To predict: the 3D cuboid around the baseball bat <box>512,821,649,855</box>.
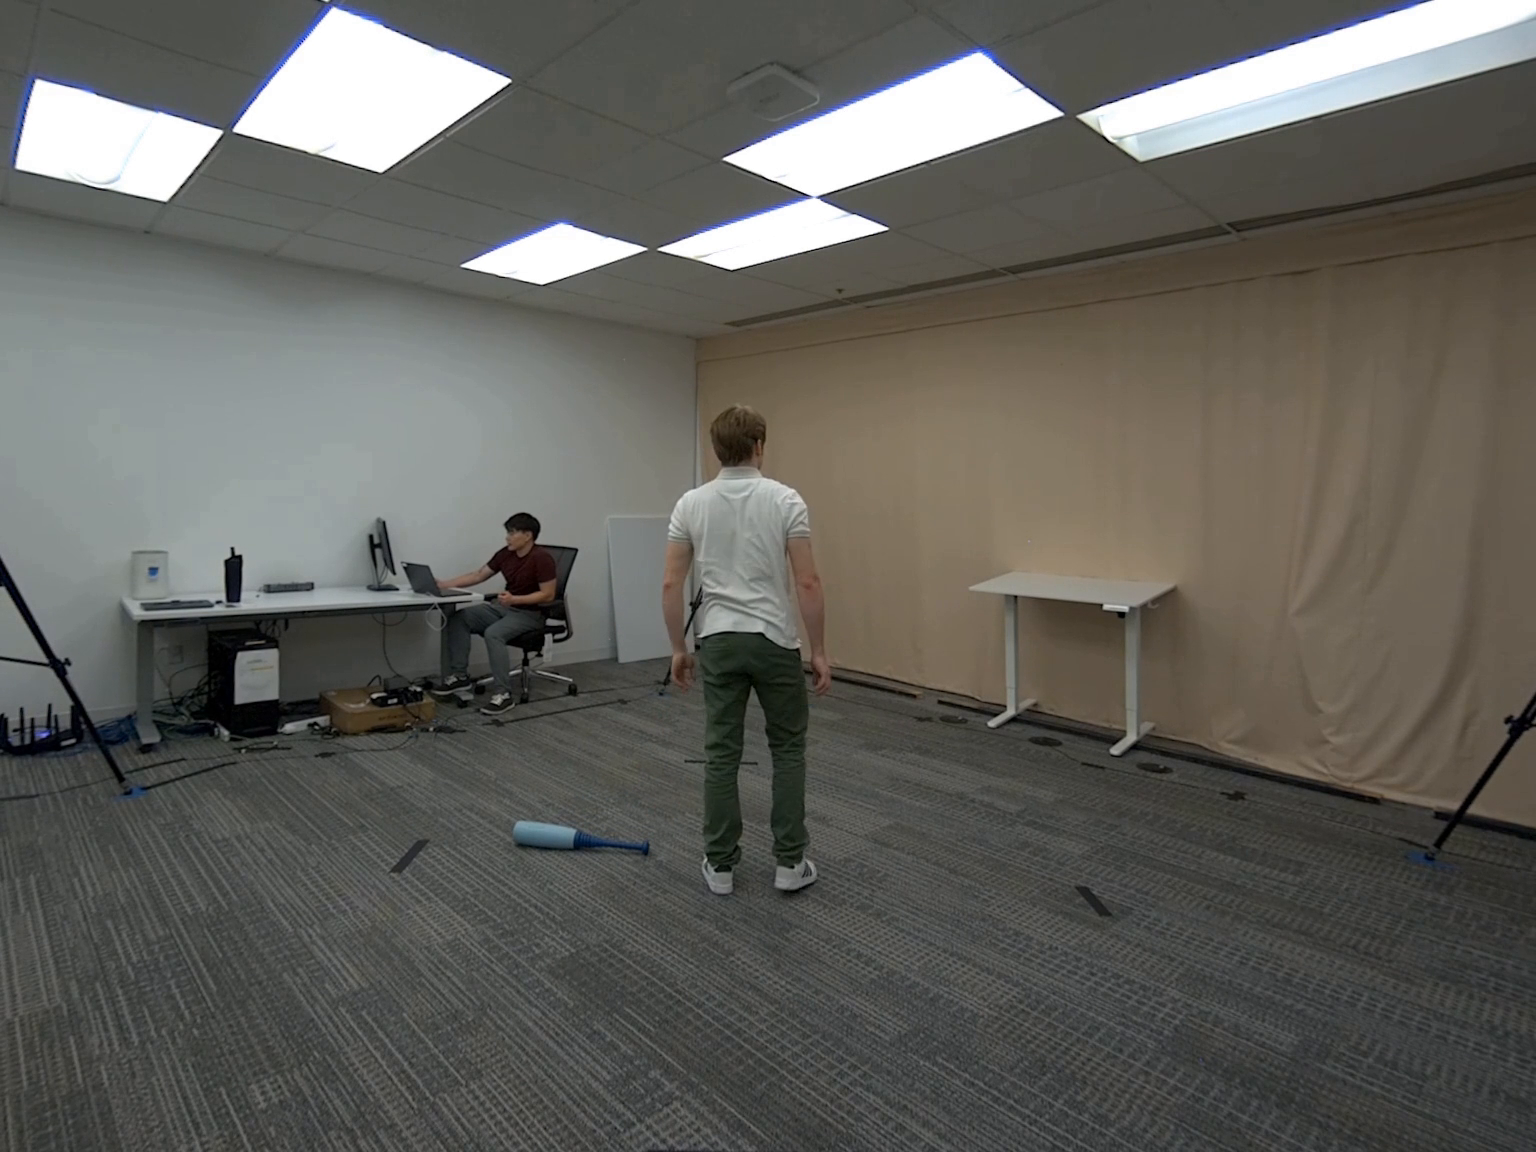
[{"bbox_3d":[-0.737,1.039,3.297,0.546,0.089,0.089,5,5,7],"label":"baseball bat"}]
